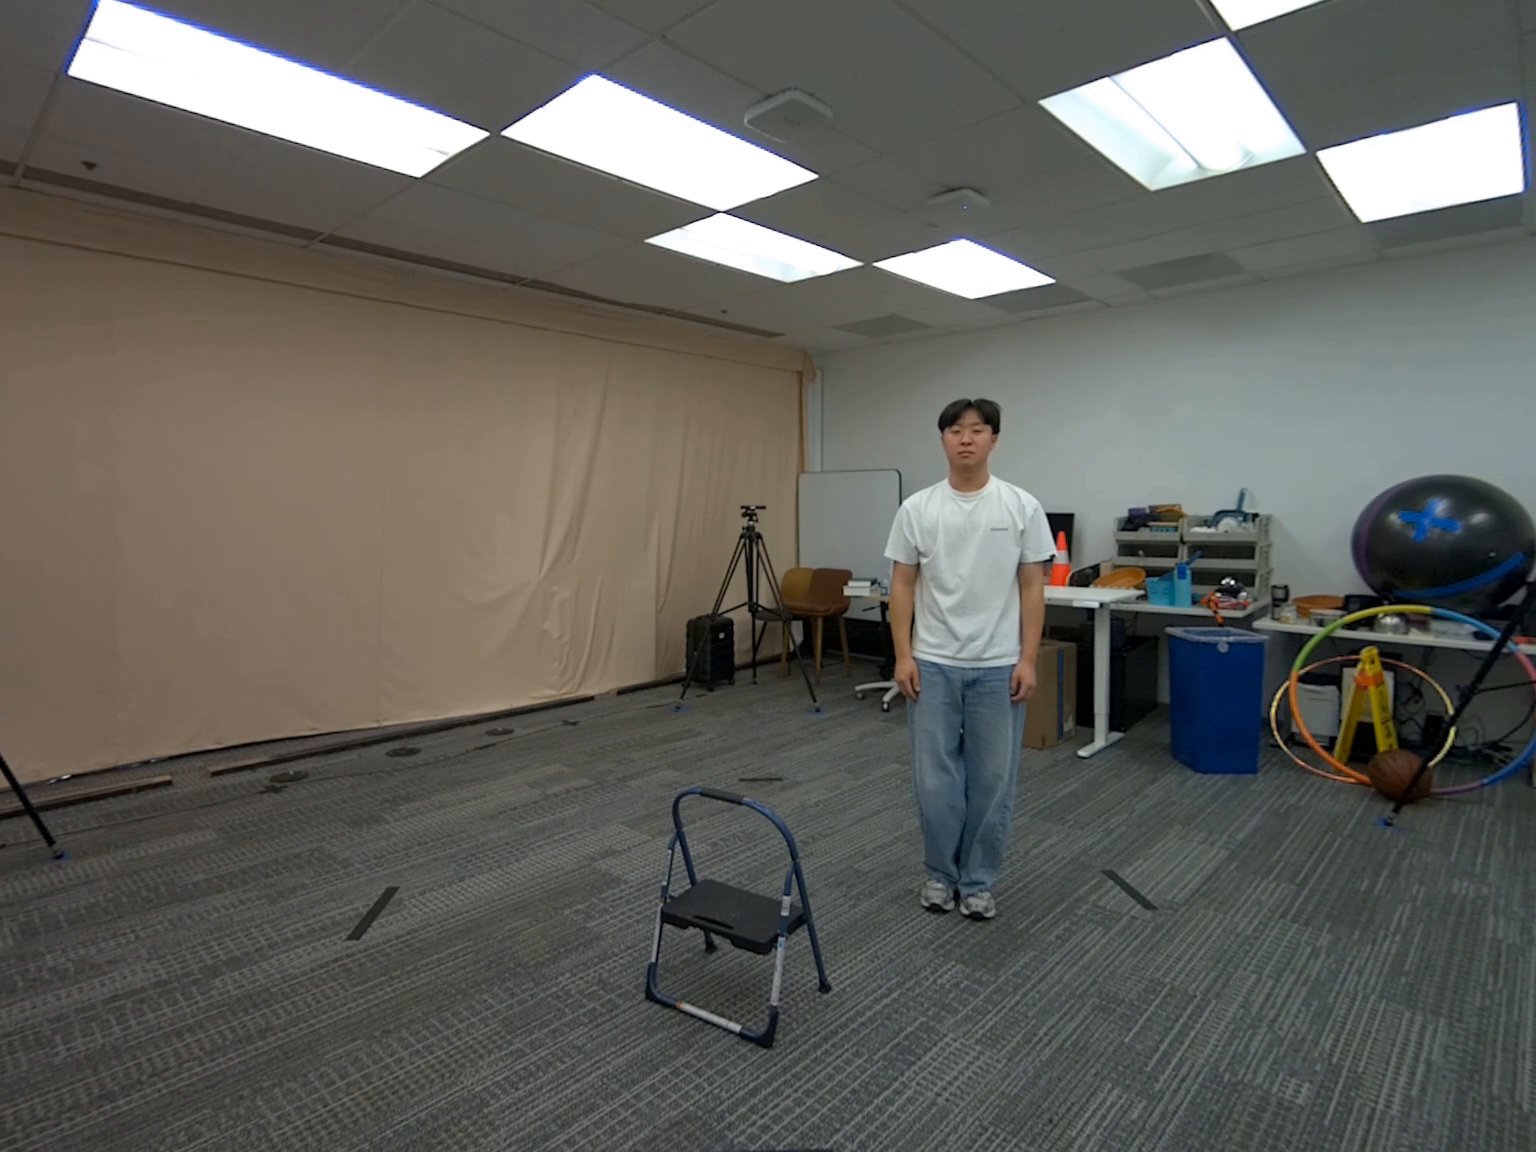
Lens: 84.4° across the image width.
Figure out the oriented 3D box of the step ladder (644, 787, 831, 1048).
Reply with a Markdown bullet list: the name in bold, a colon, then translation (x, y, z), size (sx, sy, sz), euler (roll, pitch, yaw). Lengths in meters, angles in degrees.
- **step ladder**: translation (-0.087, 0.892, 2.387), size (0.443, 0.605, 0.340), euler (2, 4, 31)
